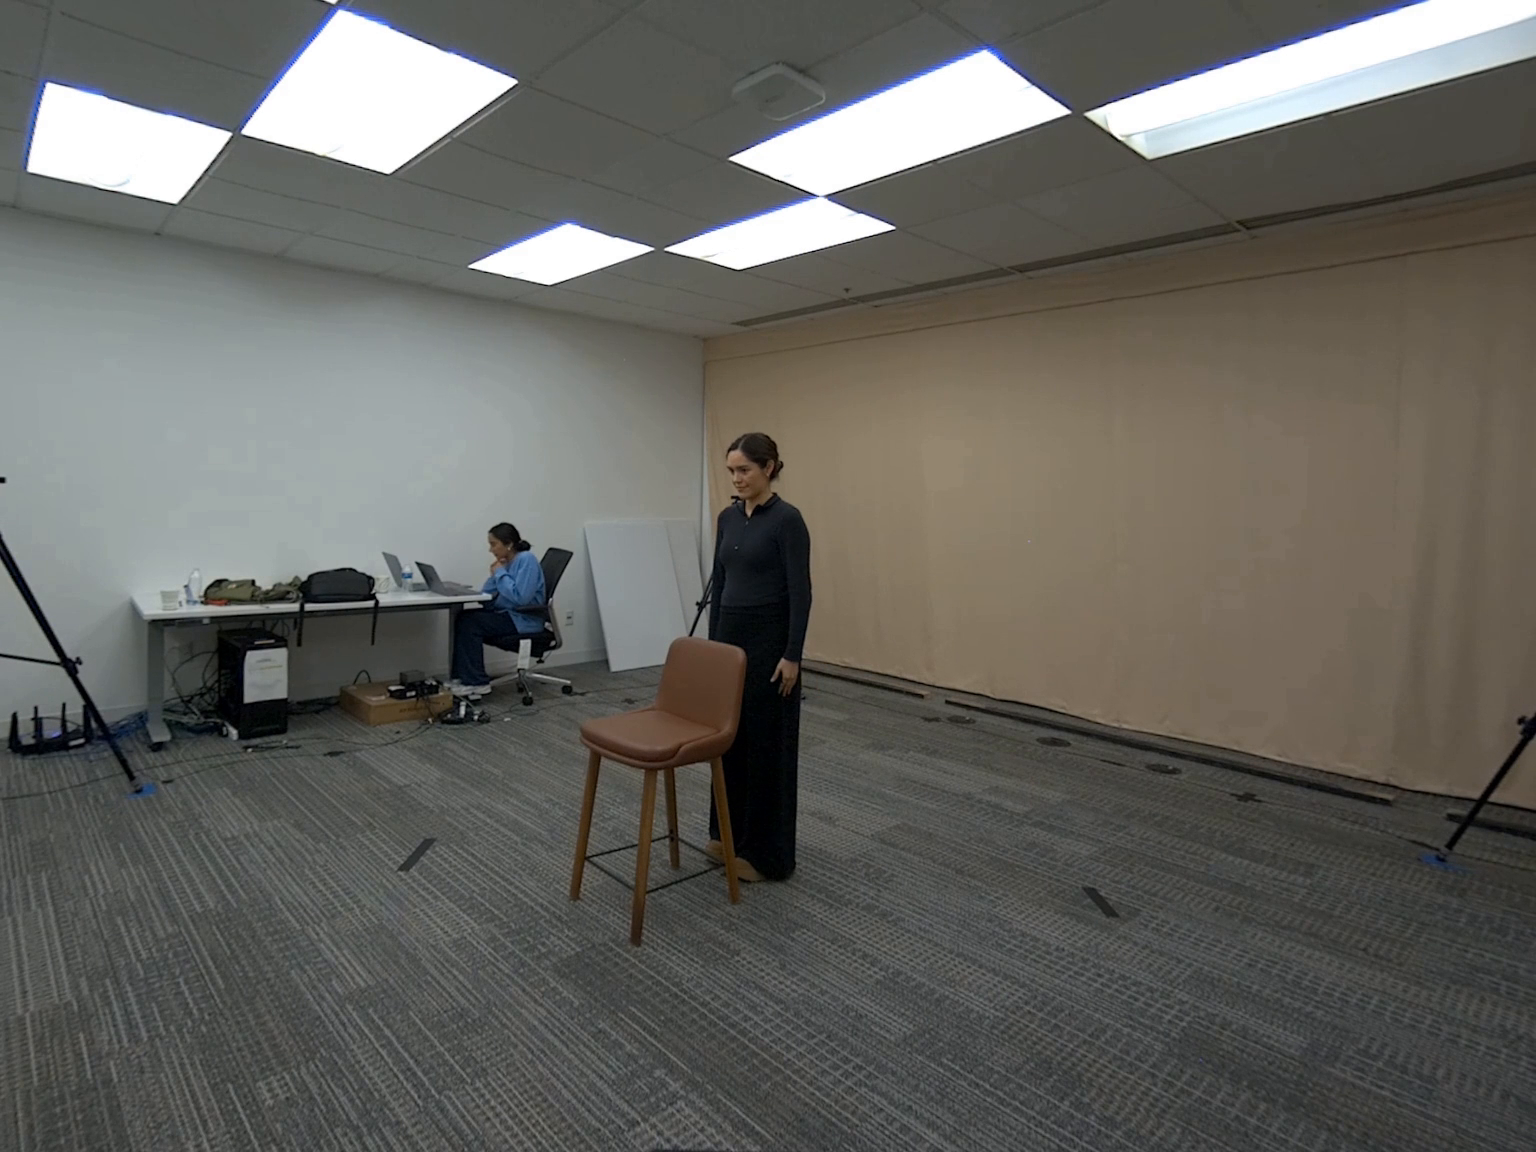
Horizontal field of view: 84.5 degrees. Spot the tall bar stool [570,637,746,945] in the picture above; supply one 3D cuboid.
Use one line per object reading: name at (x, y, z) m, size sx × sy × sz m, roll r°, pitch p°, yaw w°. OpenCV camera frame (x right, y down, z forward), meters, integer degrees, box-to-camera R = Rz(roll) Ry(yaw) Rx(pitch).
tall bar stool at (-0.372, 0.684, 2.865) m, size 0.456 × 0.888 × 0.468 m, roll 1°, pitch 3°, yaw -41°
